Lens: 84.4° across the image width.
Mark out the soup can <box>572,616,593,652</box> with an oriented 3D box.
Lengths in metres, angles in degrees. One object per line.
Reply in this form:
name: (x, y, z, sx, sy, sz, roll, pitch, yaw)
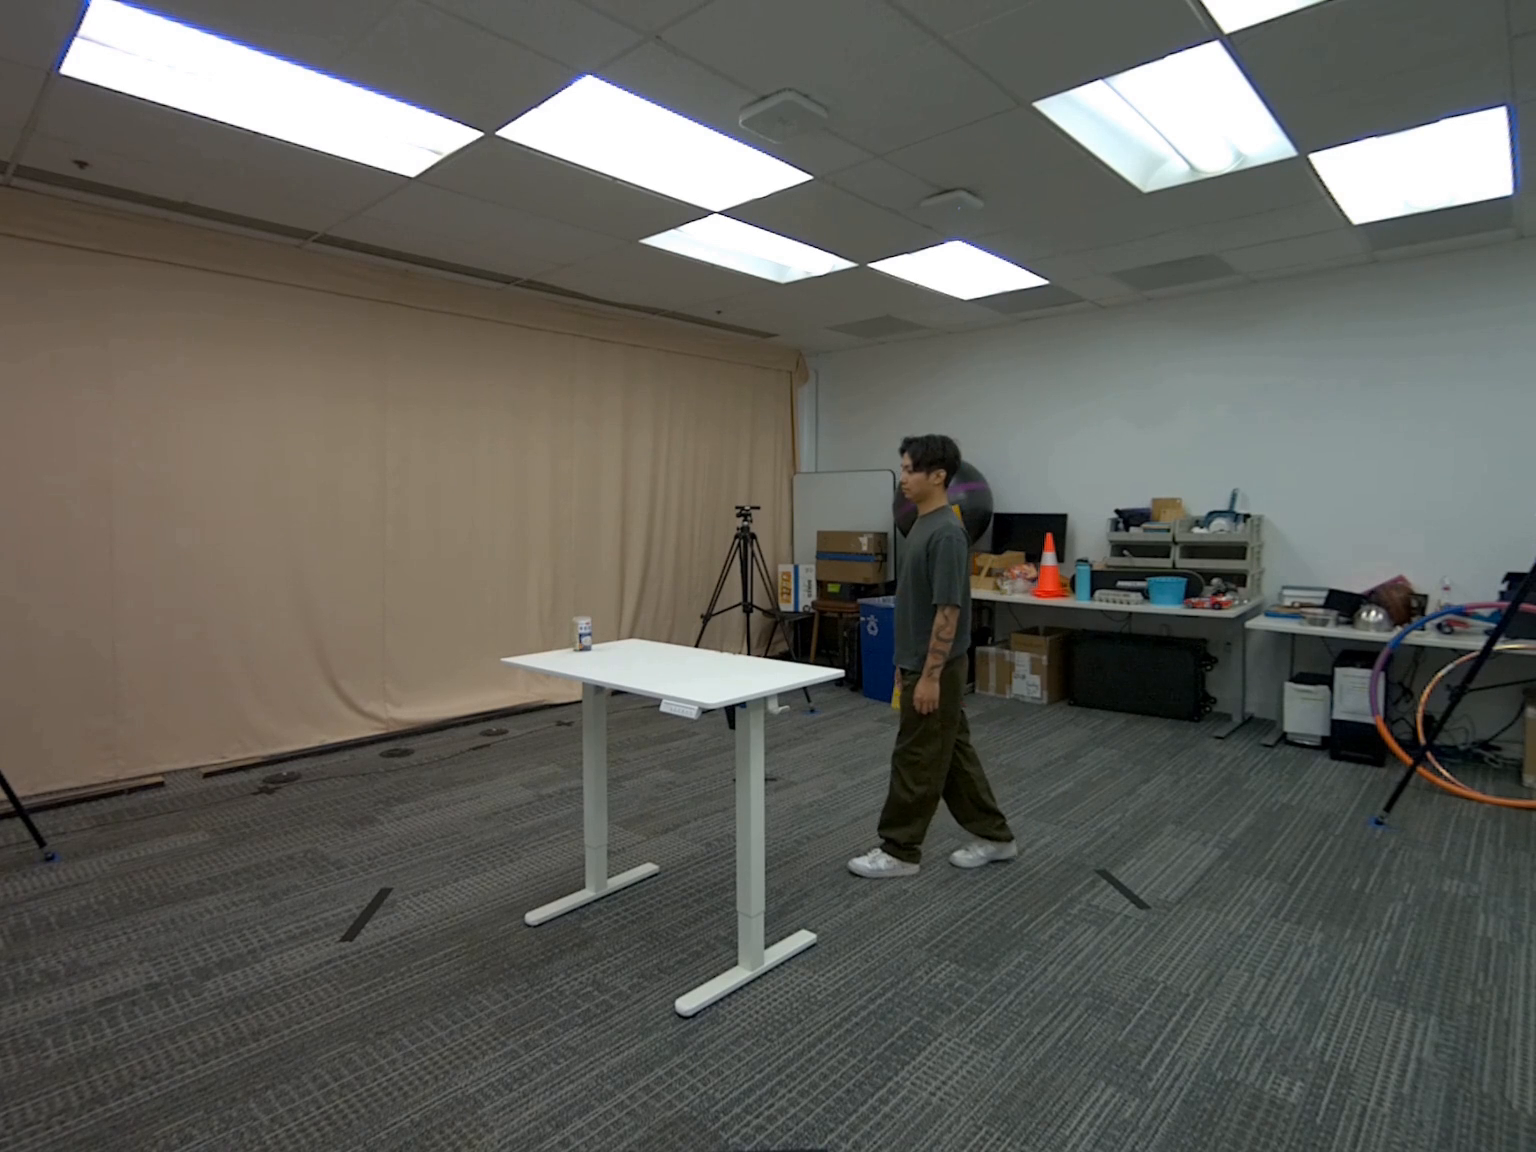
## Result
soup can: (-0.662, 0.213, 3.015, 0.067, 0.121, 0.067, 0, 0, -2)
